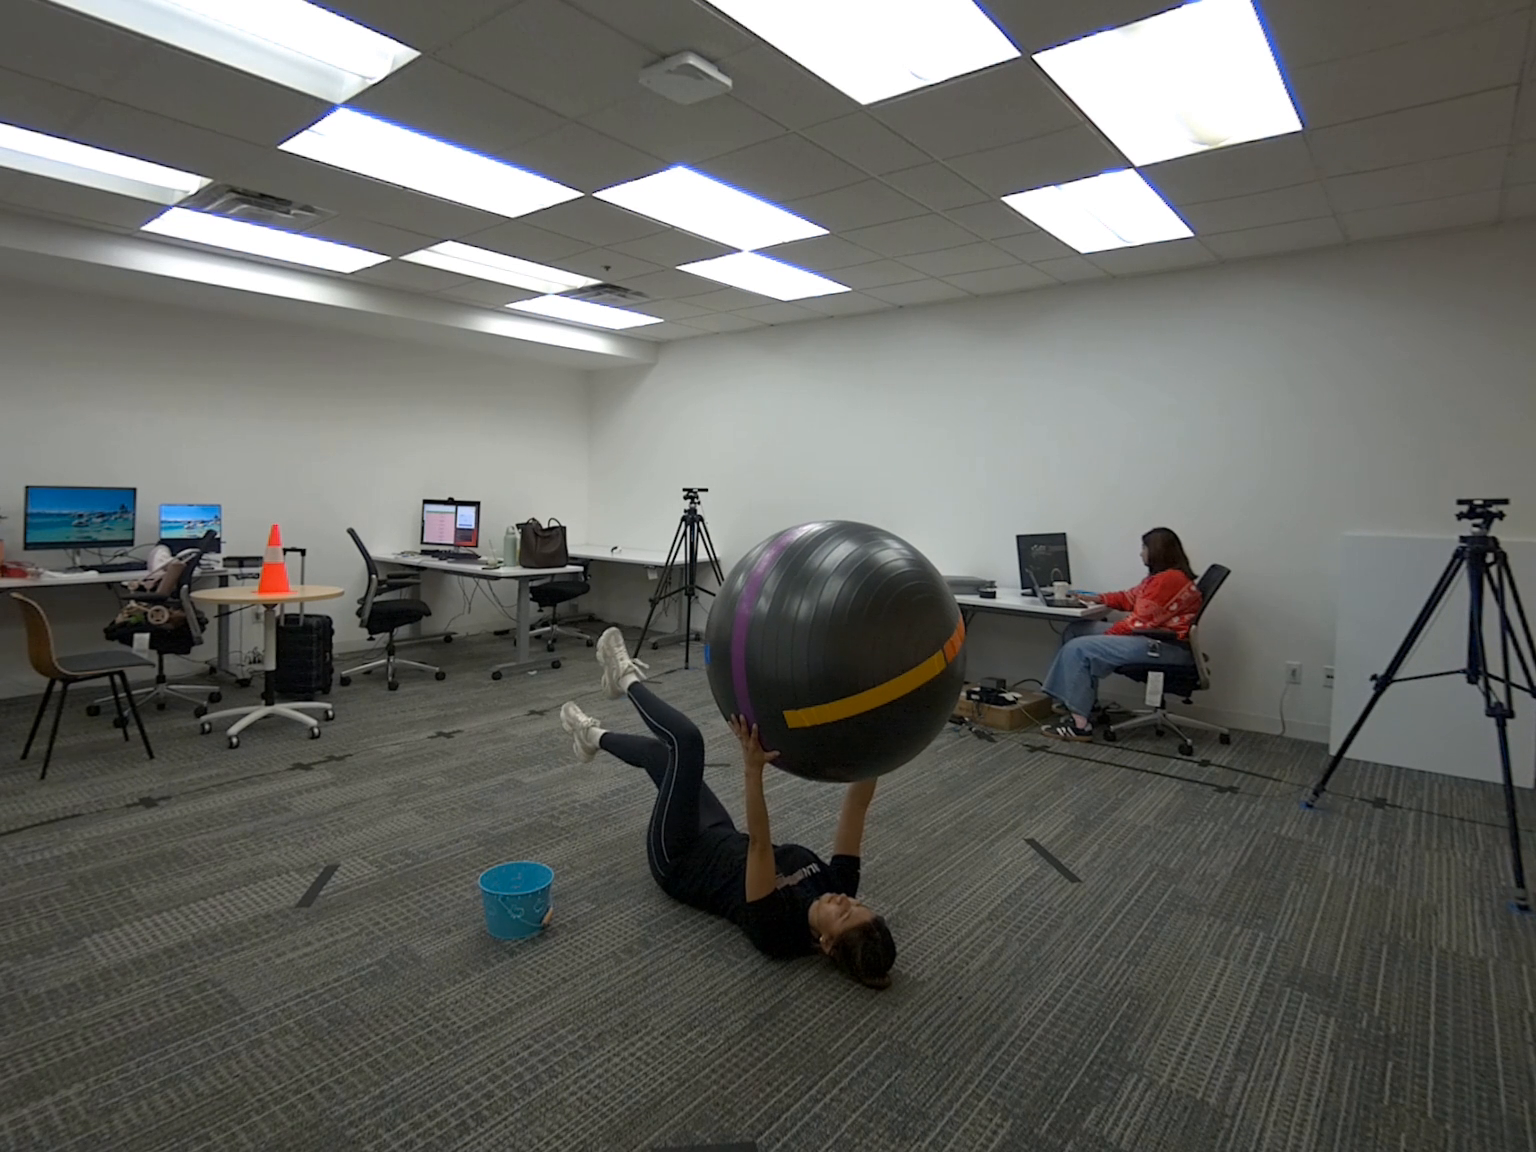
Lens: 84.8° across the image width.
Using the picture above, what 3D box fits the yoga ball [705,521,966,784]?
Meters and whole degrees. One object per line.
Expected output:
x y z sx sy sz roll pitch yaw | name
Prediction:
0.185 0.215 2.495 0.757 0.756 0.761 -3 3 -2 | yoga ball
